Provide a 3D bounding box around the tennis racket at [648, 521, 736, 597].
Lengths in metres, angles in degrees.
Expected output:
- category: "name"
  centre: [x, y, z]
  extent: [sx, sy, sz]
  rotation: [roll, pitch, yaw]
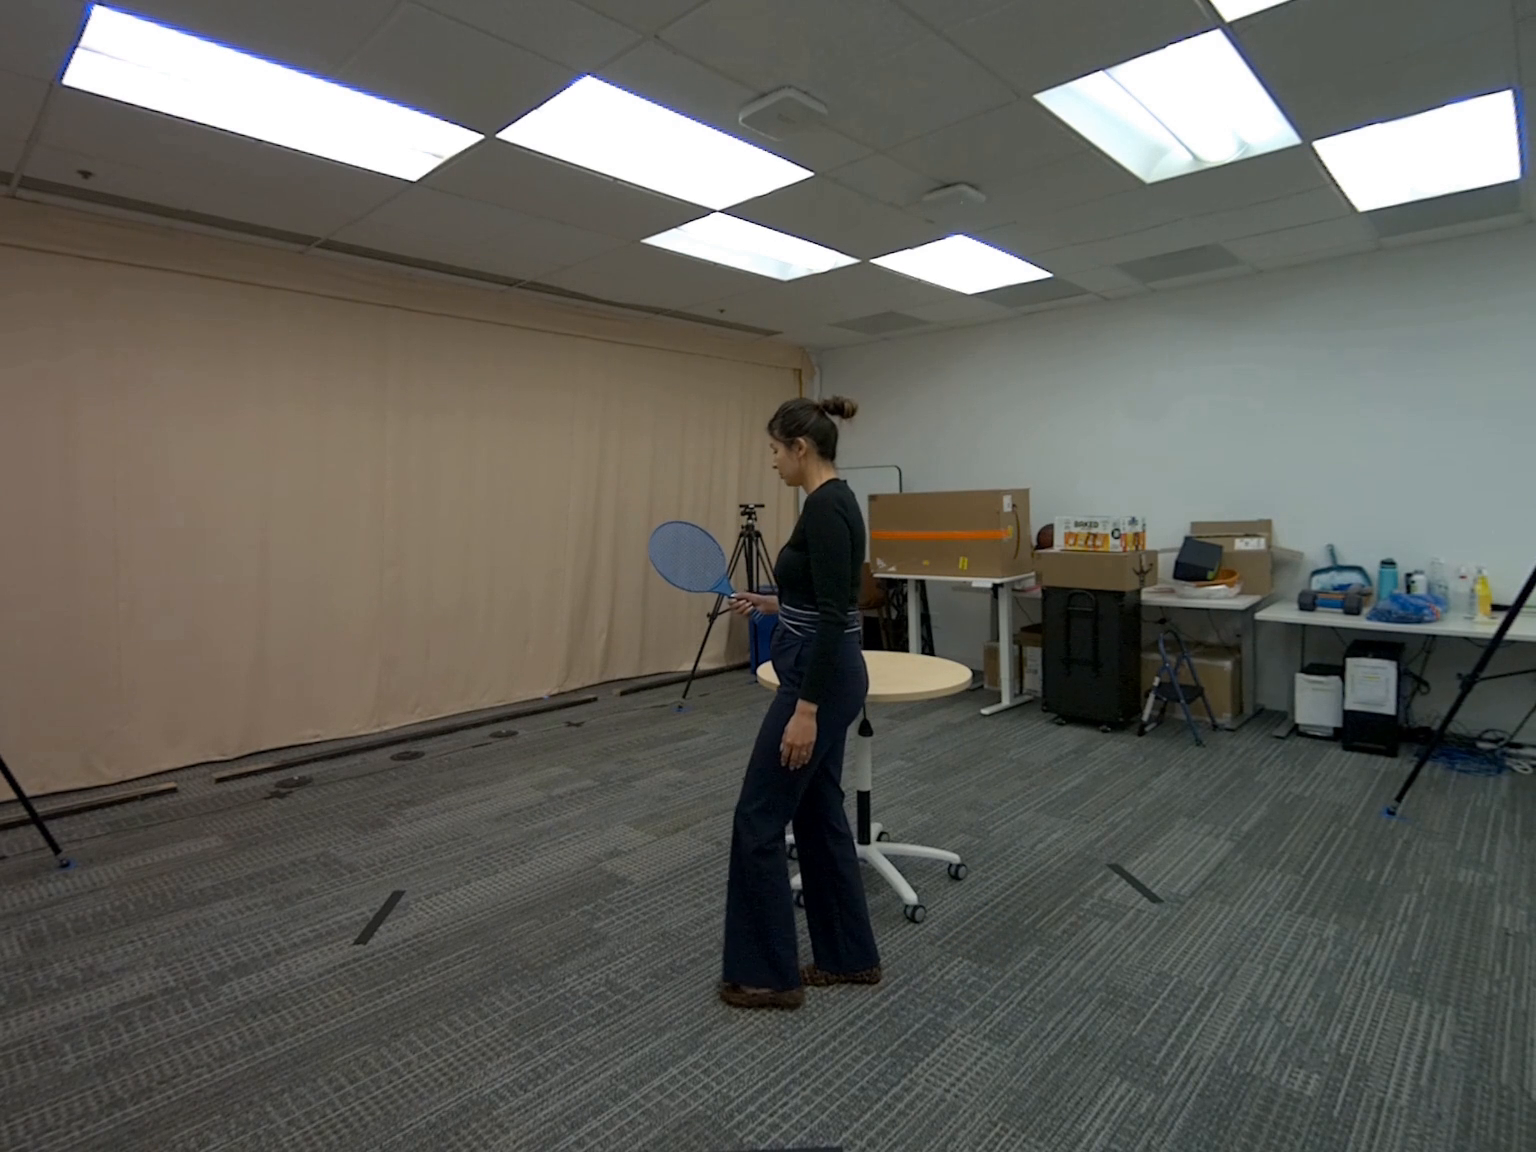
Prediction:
- category: "tennis racket"
  centre: [-0.183, -0.013, 2.619]
  extent: [0.437, 0.213, 0.031]
  rotation: [36, -22, 8]
